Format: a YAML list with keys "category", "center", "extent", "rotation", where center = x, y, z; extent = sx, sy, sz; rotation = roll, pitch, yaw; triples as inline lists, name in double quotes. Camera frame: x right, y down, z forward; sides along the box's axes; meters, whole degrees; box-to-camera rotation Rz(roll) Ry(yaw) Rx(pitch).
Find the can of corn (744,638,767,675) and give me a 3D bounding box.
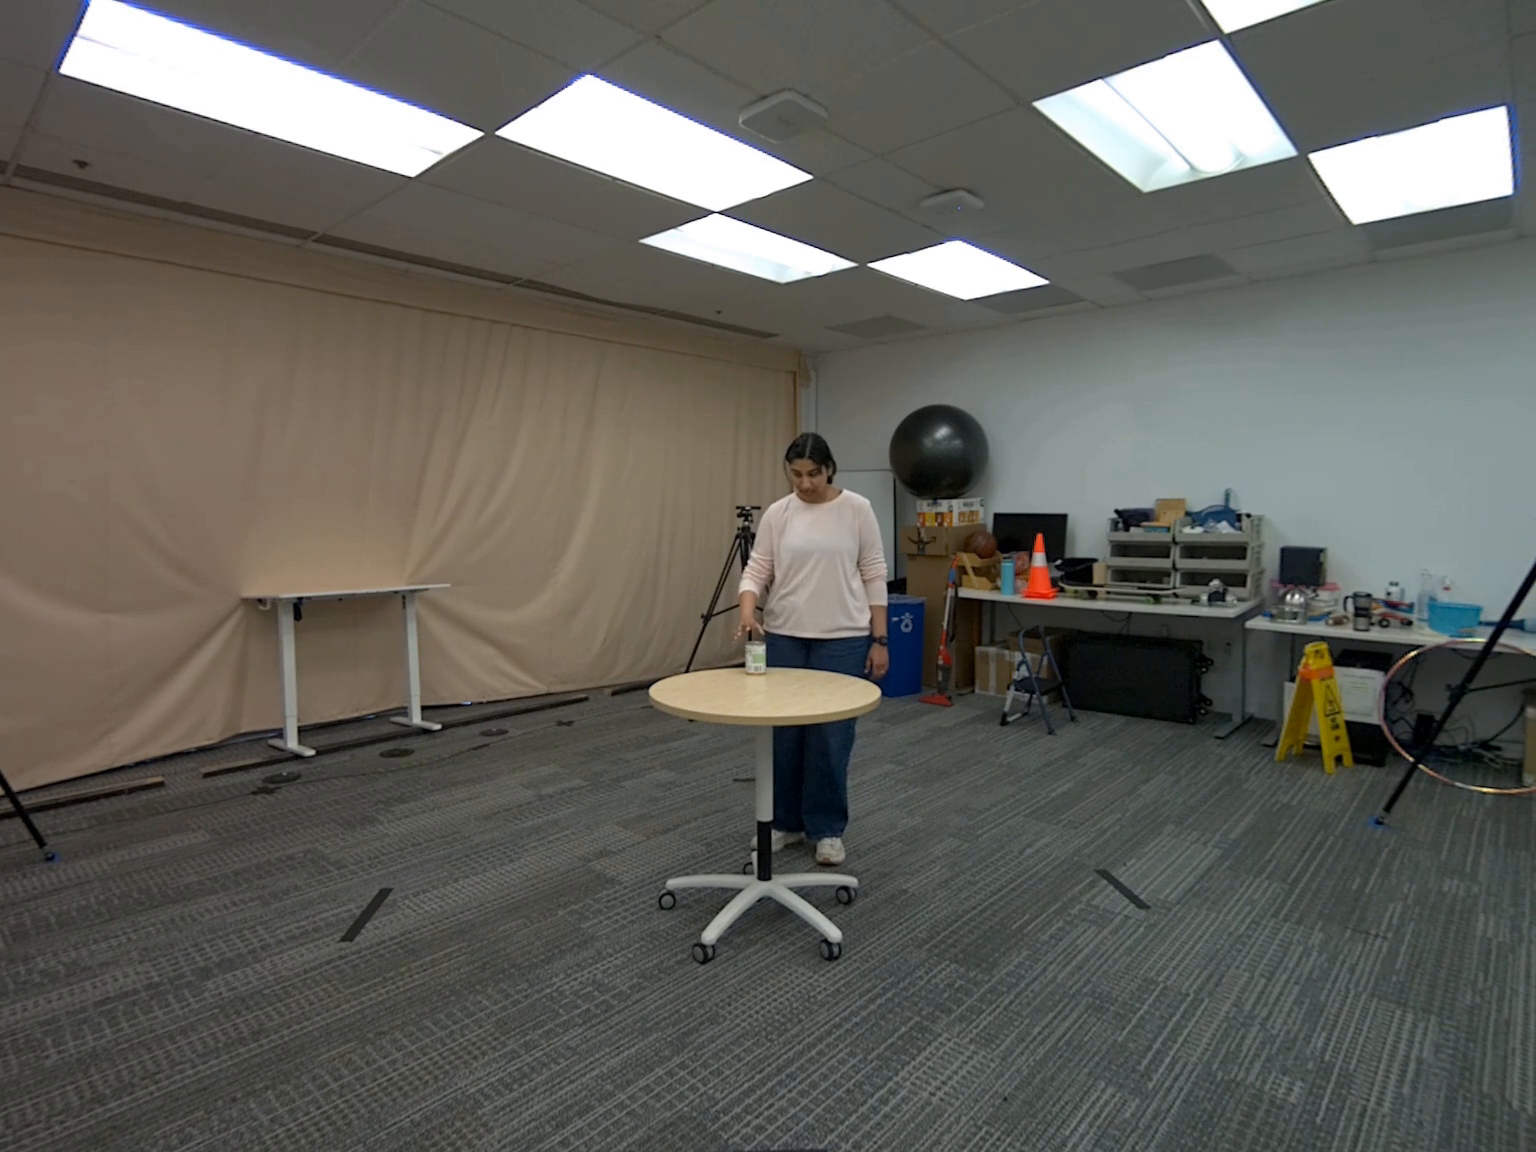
- category: "can of corn"
  center: [-0.041, 0.304, 3.061]
  extent: [0.074, 0.111, 0.074]
  rotation: [-1, -1, -2]
